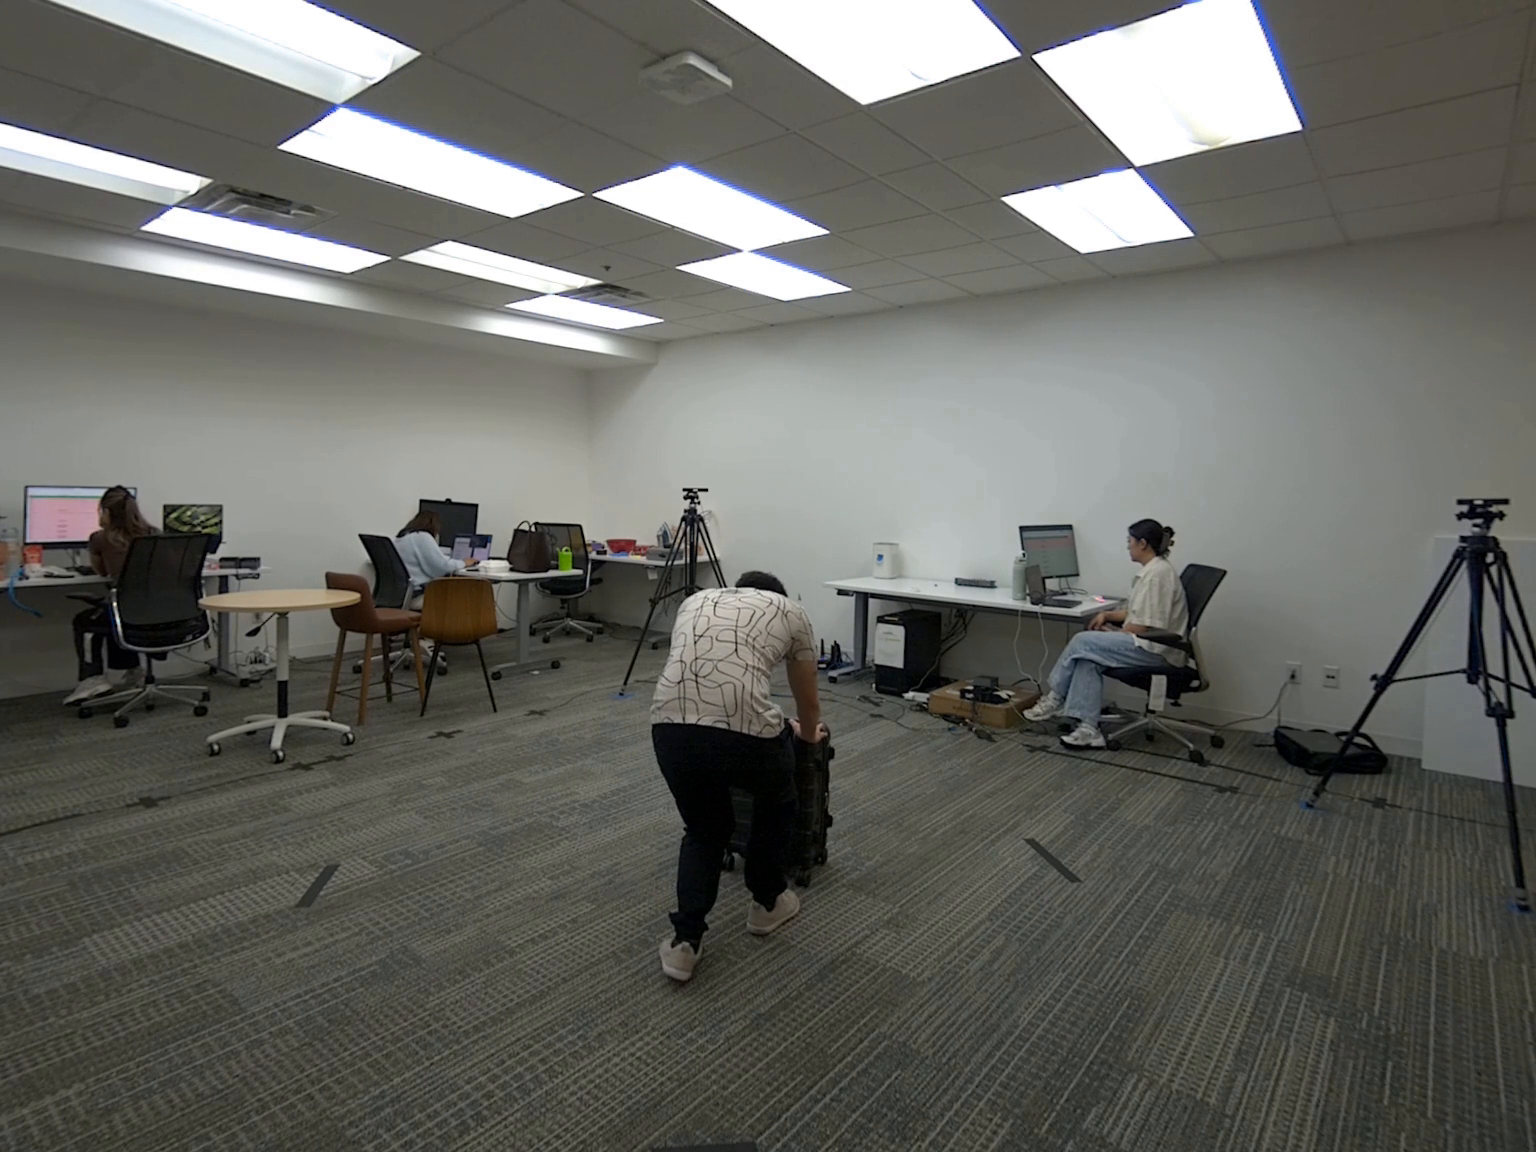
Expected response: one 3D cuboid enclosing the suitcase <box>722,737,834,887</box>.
[{"bbox_3d":[0.030,0.792,3.161,0.385,0.549,0.242,3,1,23],"label":"suitcase"}]
